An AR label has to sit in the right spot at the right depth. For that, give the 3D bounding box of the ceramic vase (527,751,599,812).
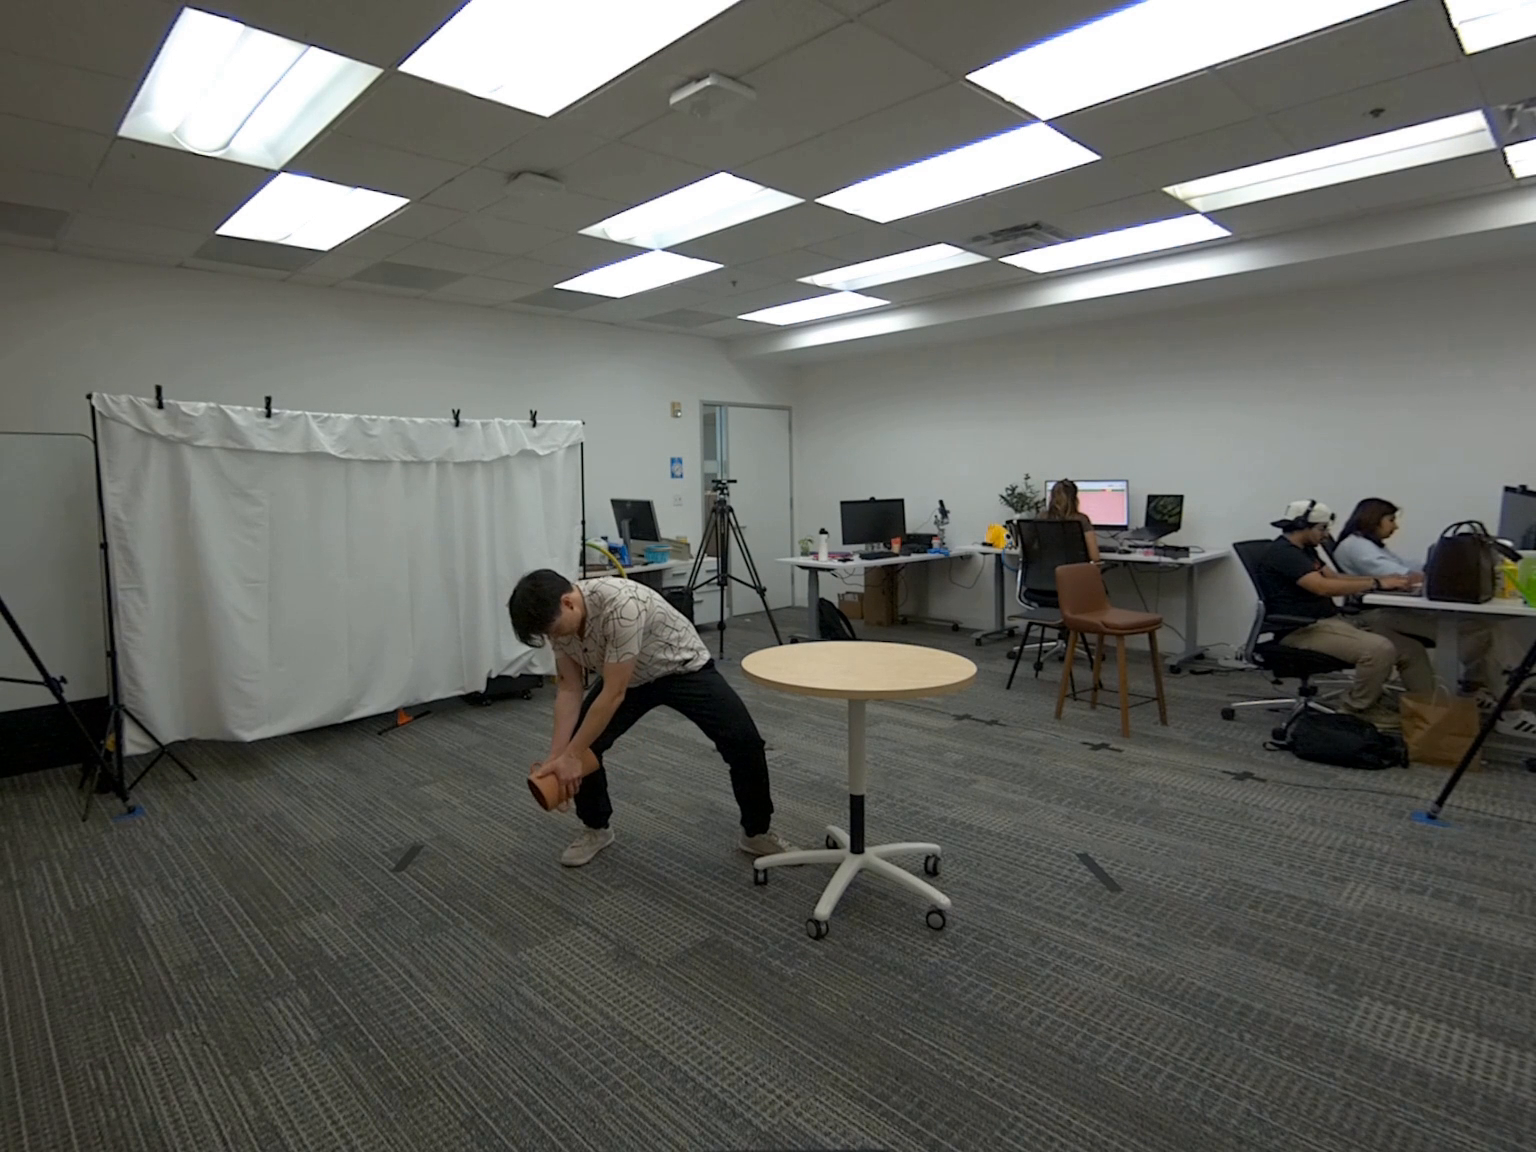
[{"bbox_3d":[-0.689,0.675,2.897,0.218,0.155,0.139,-34,27,-33],"label":"ceramic vase"}]
